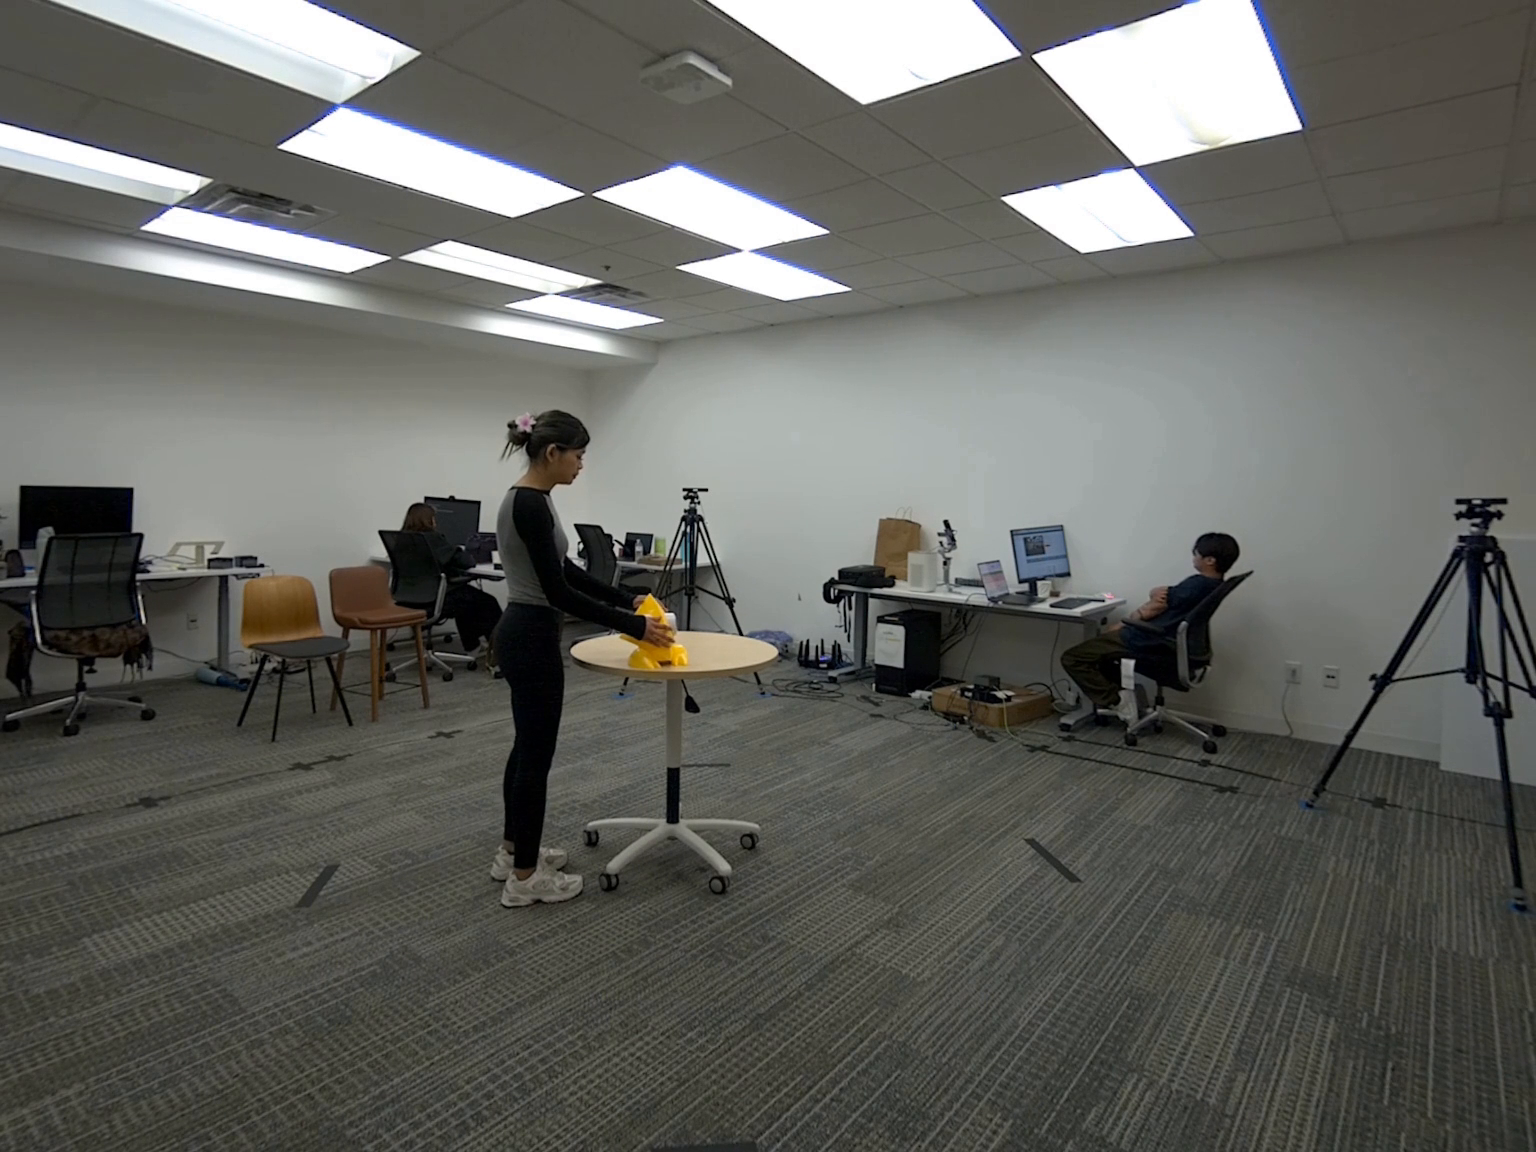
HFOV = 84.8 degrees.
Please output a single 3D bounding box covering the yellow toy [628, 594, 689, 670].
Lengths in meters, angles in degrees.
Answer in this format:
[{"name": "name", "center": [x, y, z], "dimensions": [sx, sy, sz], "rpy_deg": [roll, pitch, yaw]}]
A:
[{"name": "yellow toy", "center": [-0.387, 0.184, 2.899], "dimensions": [0.199, 0.230, 0.199], "rpy_deg": [-2, 5, -34]}]
